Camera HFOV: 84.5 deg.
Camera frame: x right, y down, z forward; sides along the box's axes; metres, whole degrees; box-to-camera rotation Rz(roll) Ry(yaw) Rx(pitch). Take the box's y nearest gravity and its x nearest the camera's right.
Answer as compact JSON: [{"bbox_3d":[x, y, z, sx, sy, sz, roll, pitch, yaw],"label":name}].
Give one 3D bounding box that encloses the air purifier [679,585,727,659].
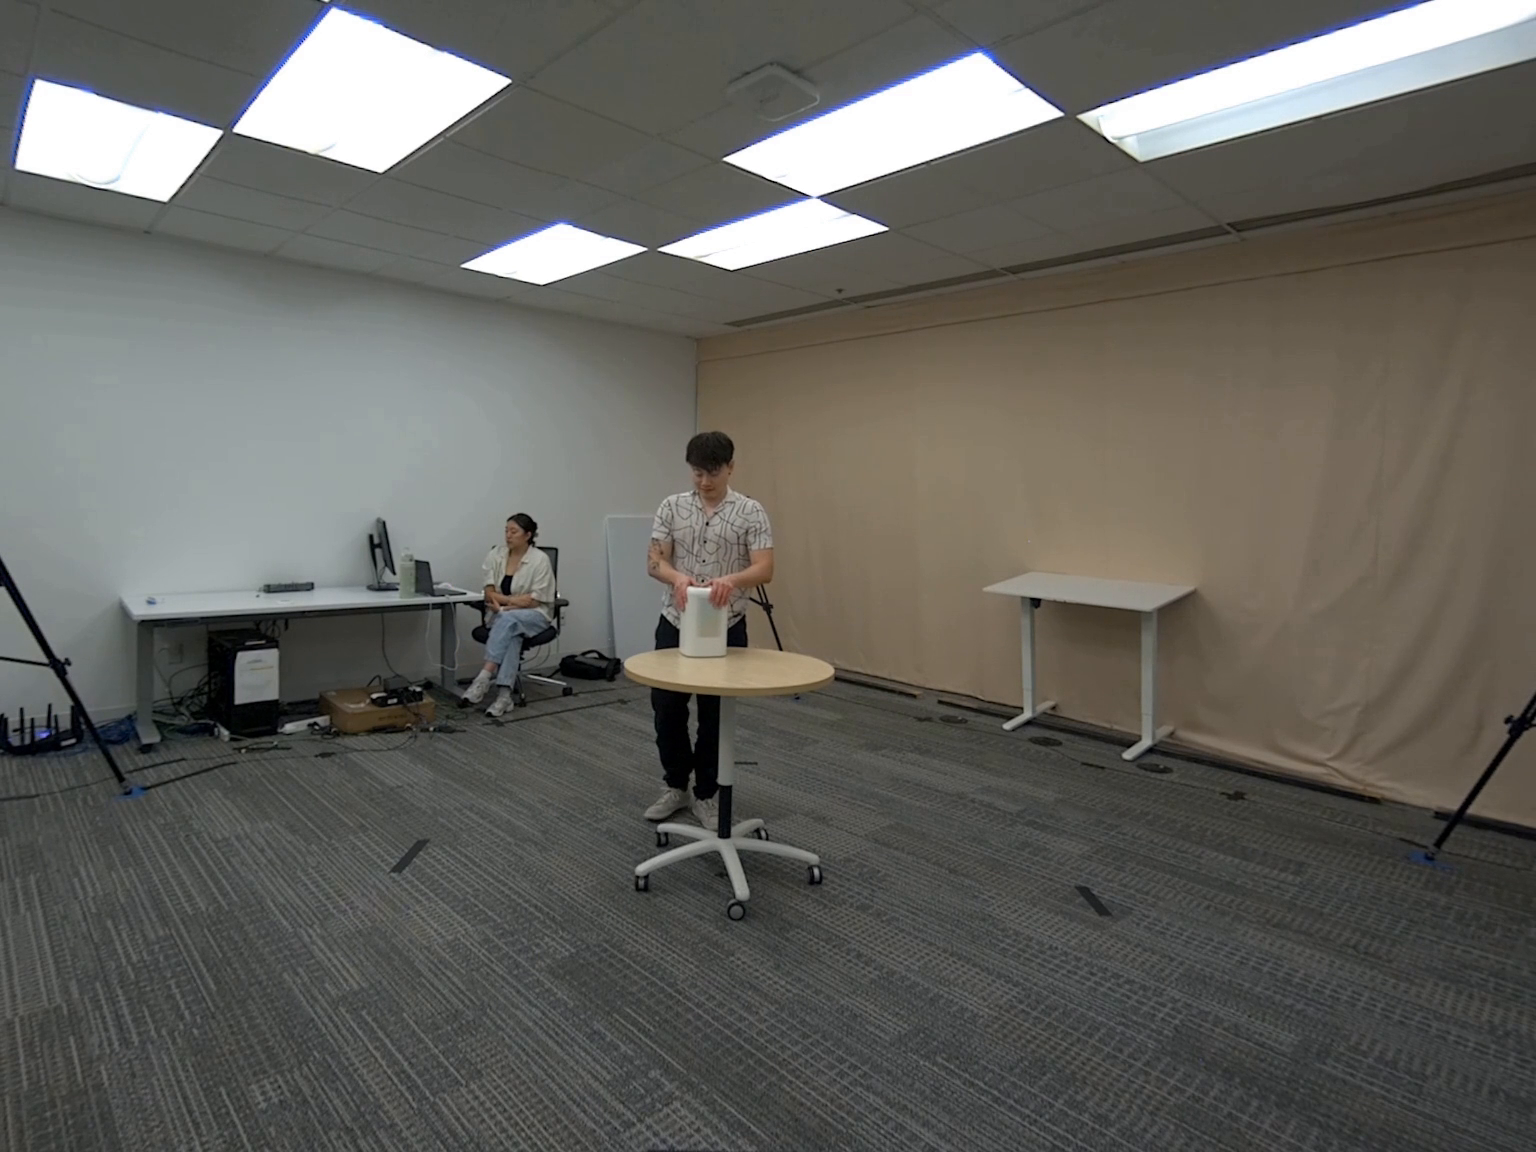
[{"bbox_3d":[-0.260,0.173,3.283,0.169,0.265,0.173,2,3,-16],"label":"air purifier"}]
